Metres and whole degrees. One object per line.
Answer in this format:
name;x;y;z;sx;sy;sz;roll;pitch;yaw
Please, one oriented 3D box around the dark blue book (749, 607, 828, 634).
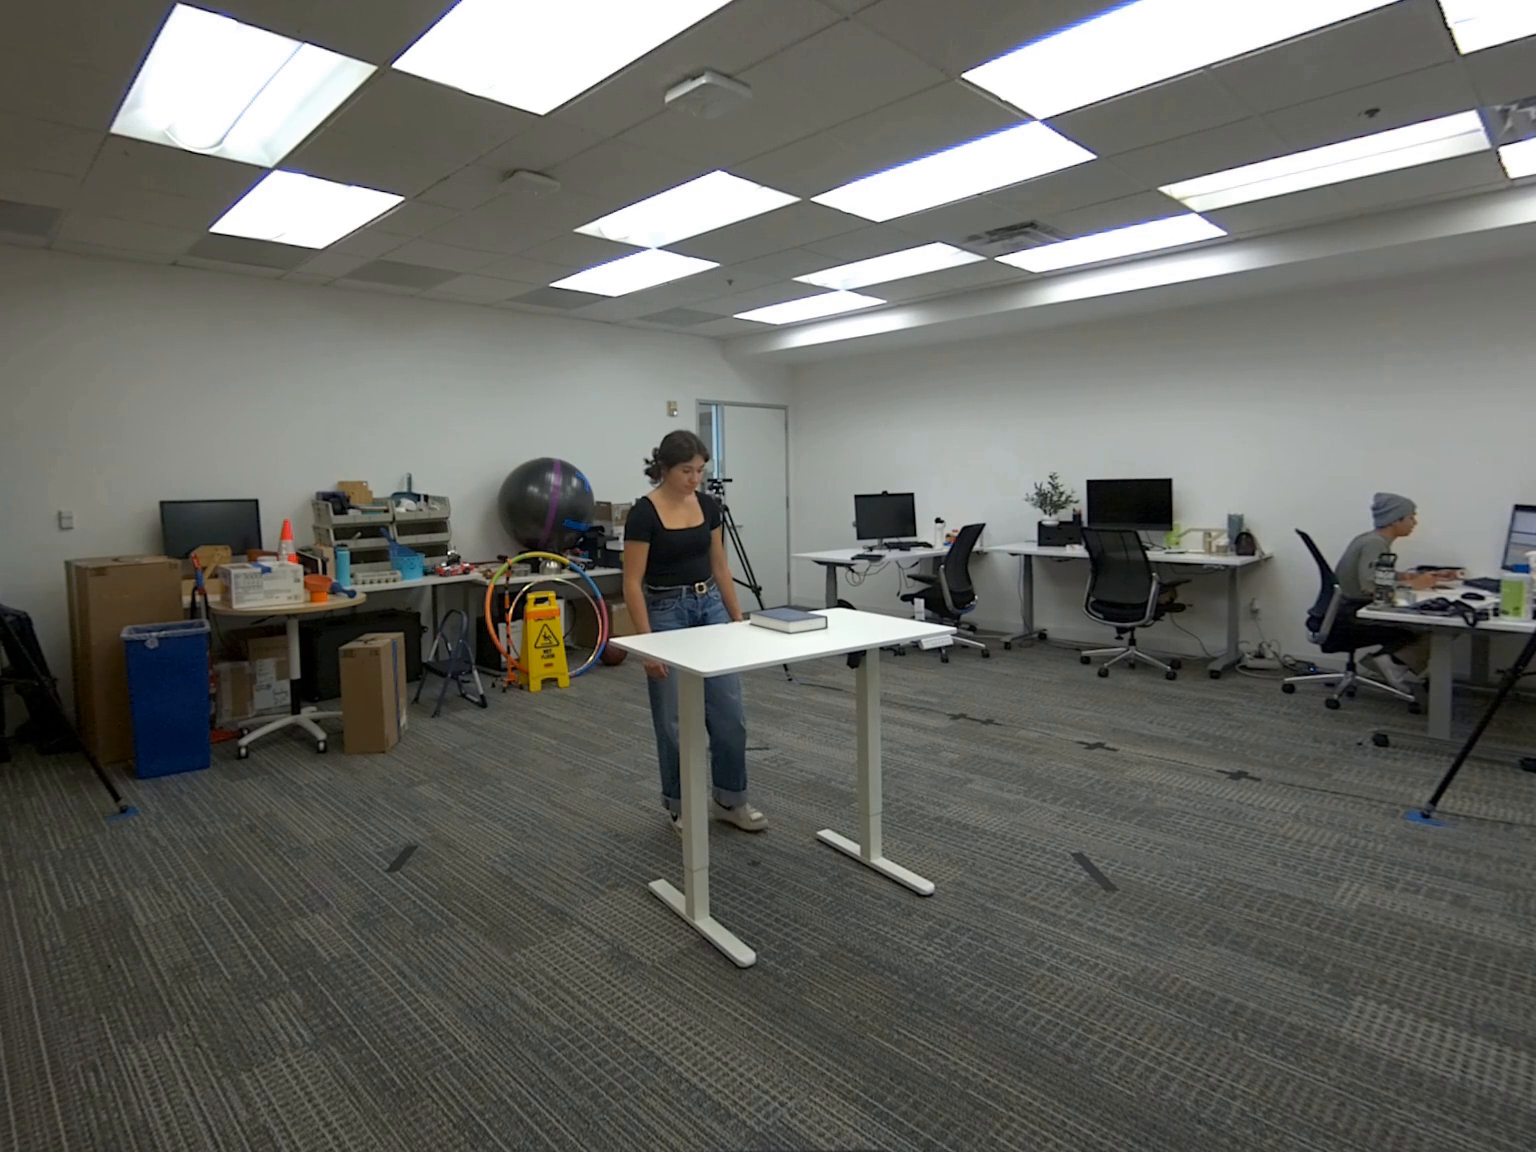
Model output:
dark blue book;0.068;0.155;2.971;0.159;0.045;0.252;-5;8;-34
